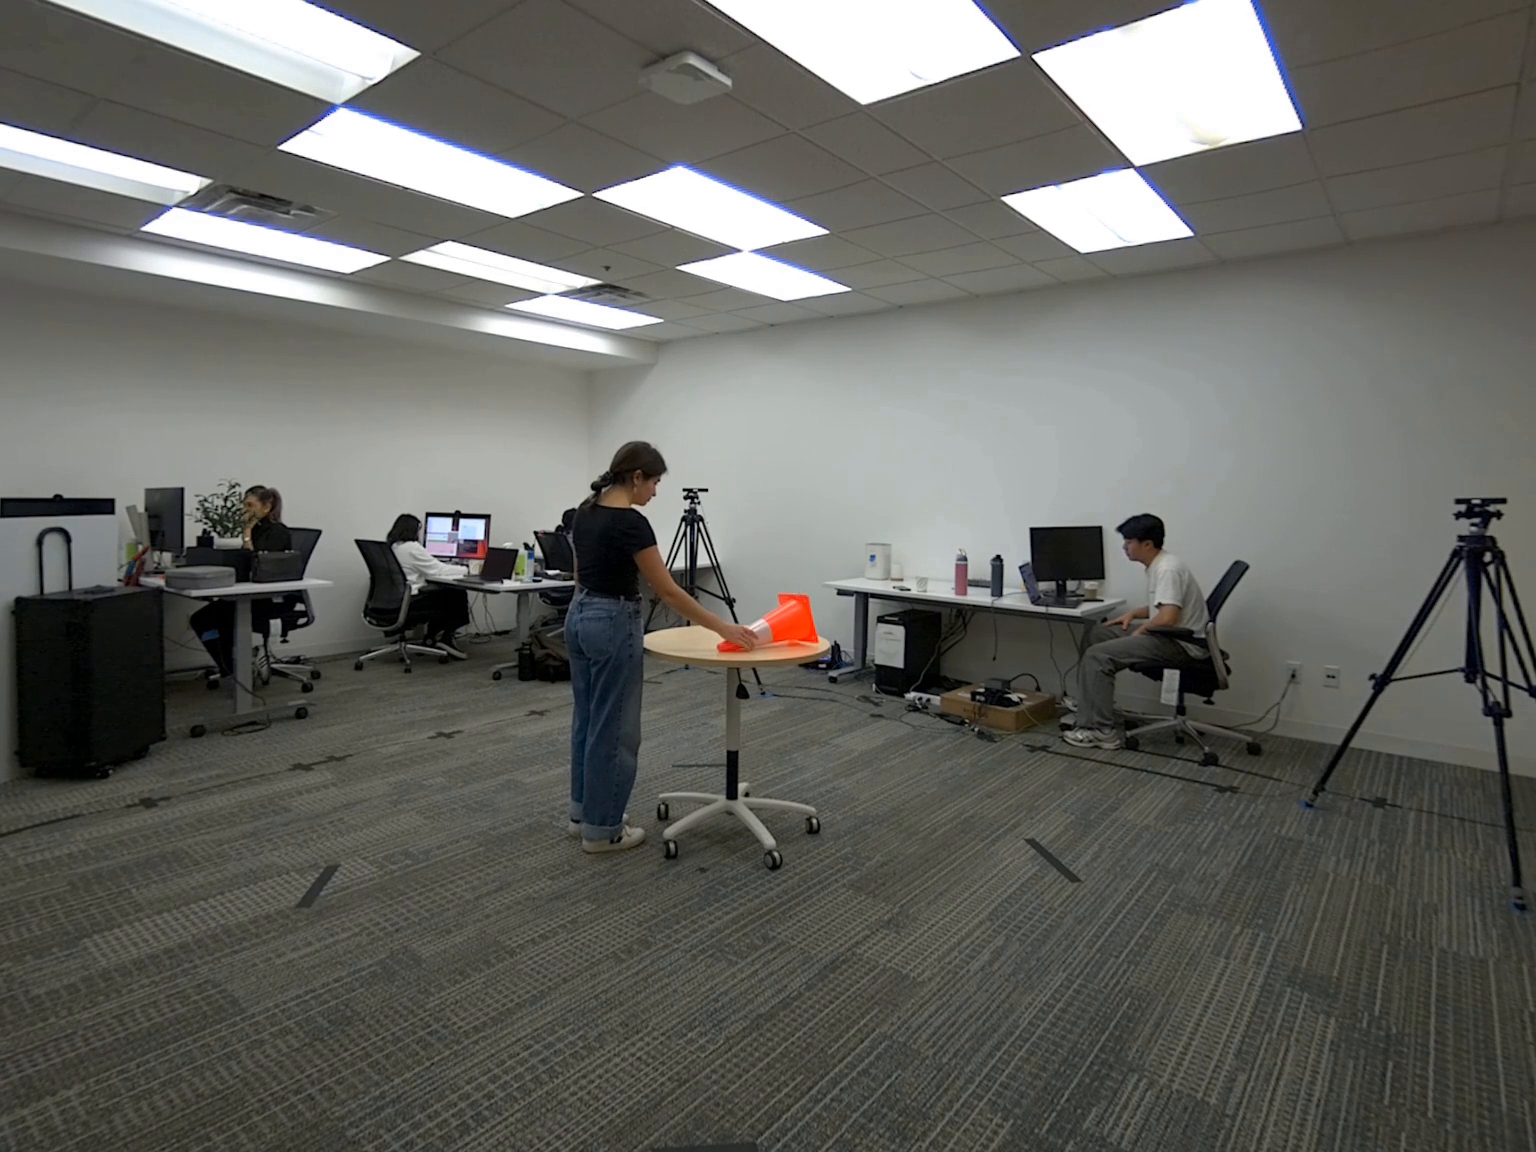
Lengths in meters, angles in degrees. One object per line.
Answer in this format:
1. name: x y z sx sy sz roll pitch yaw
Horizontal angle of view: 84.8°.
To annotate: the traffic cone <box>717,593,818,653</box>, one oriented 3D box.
1. traffic cone: -0.037 0.213 3.289 0.377 0.202 0.210 -17 8 -27
